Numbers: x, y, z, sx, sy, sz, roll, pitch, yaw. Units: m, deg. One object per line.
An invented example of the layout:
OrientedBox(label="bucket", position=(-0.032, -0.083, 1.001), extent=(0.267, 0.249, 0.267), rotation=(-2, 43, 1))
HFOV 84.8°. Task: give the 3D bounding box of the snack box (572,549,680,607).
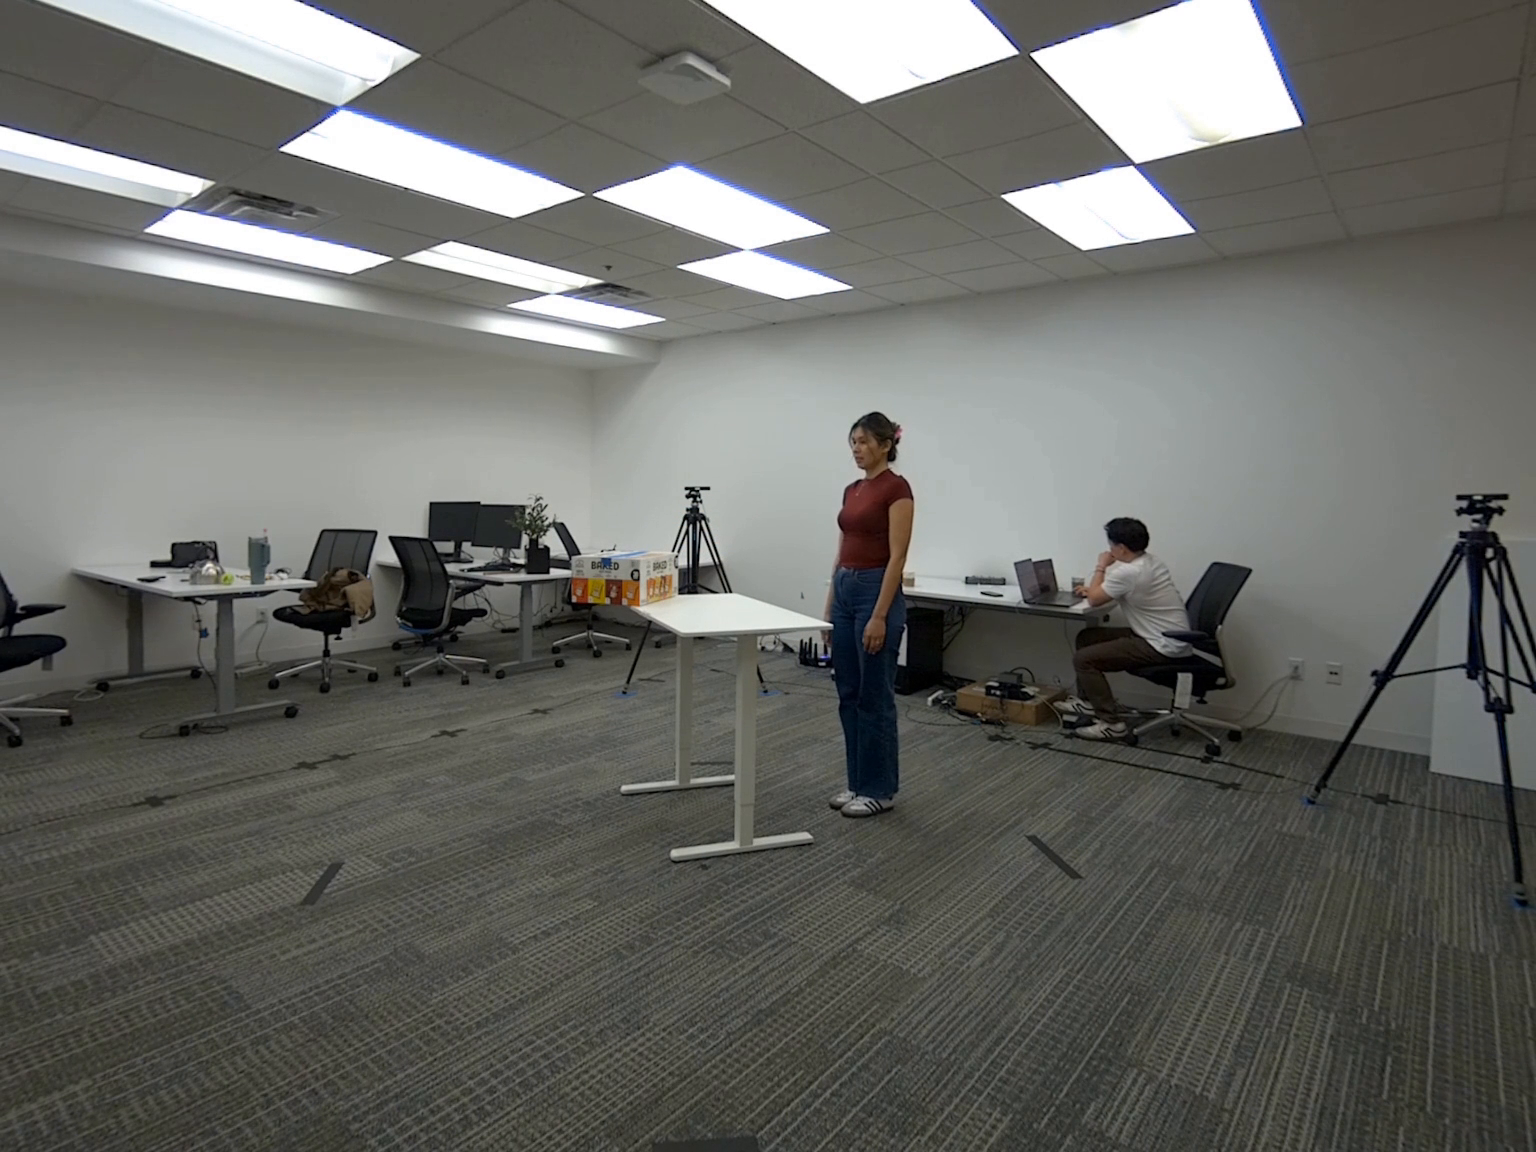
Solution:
OrientedBox(label="snack box", position=(-0.649, 0.000, 3.870), extent=(0.348, 0.205, 0.398), rotation=(3, 6, 20))
